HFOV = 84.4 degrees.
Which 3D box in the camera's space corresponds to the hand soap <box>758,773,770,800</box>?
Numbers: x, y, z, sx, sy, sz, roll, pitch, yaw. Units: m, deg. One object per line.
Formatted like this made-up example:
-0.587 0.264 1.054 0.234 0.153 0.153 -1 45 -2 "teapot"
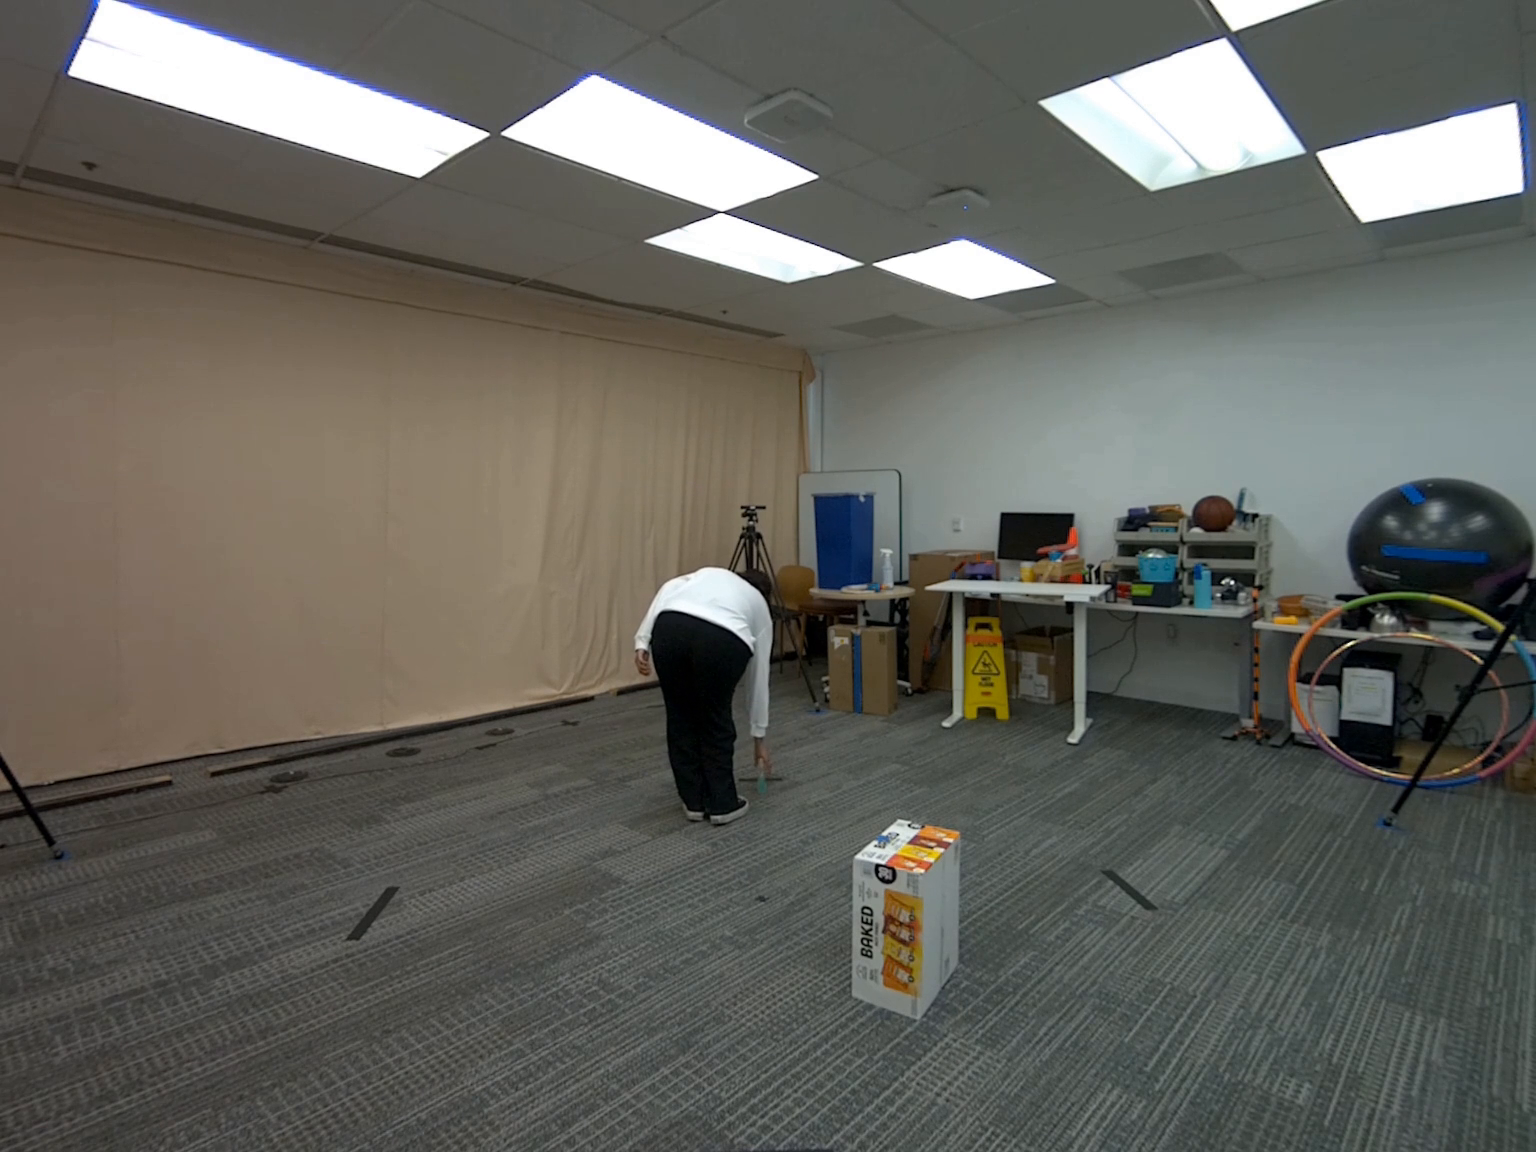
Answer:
-0.021 0.985 4.107 0.044 0.167 0.084 1 5 5 "hand soap"
